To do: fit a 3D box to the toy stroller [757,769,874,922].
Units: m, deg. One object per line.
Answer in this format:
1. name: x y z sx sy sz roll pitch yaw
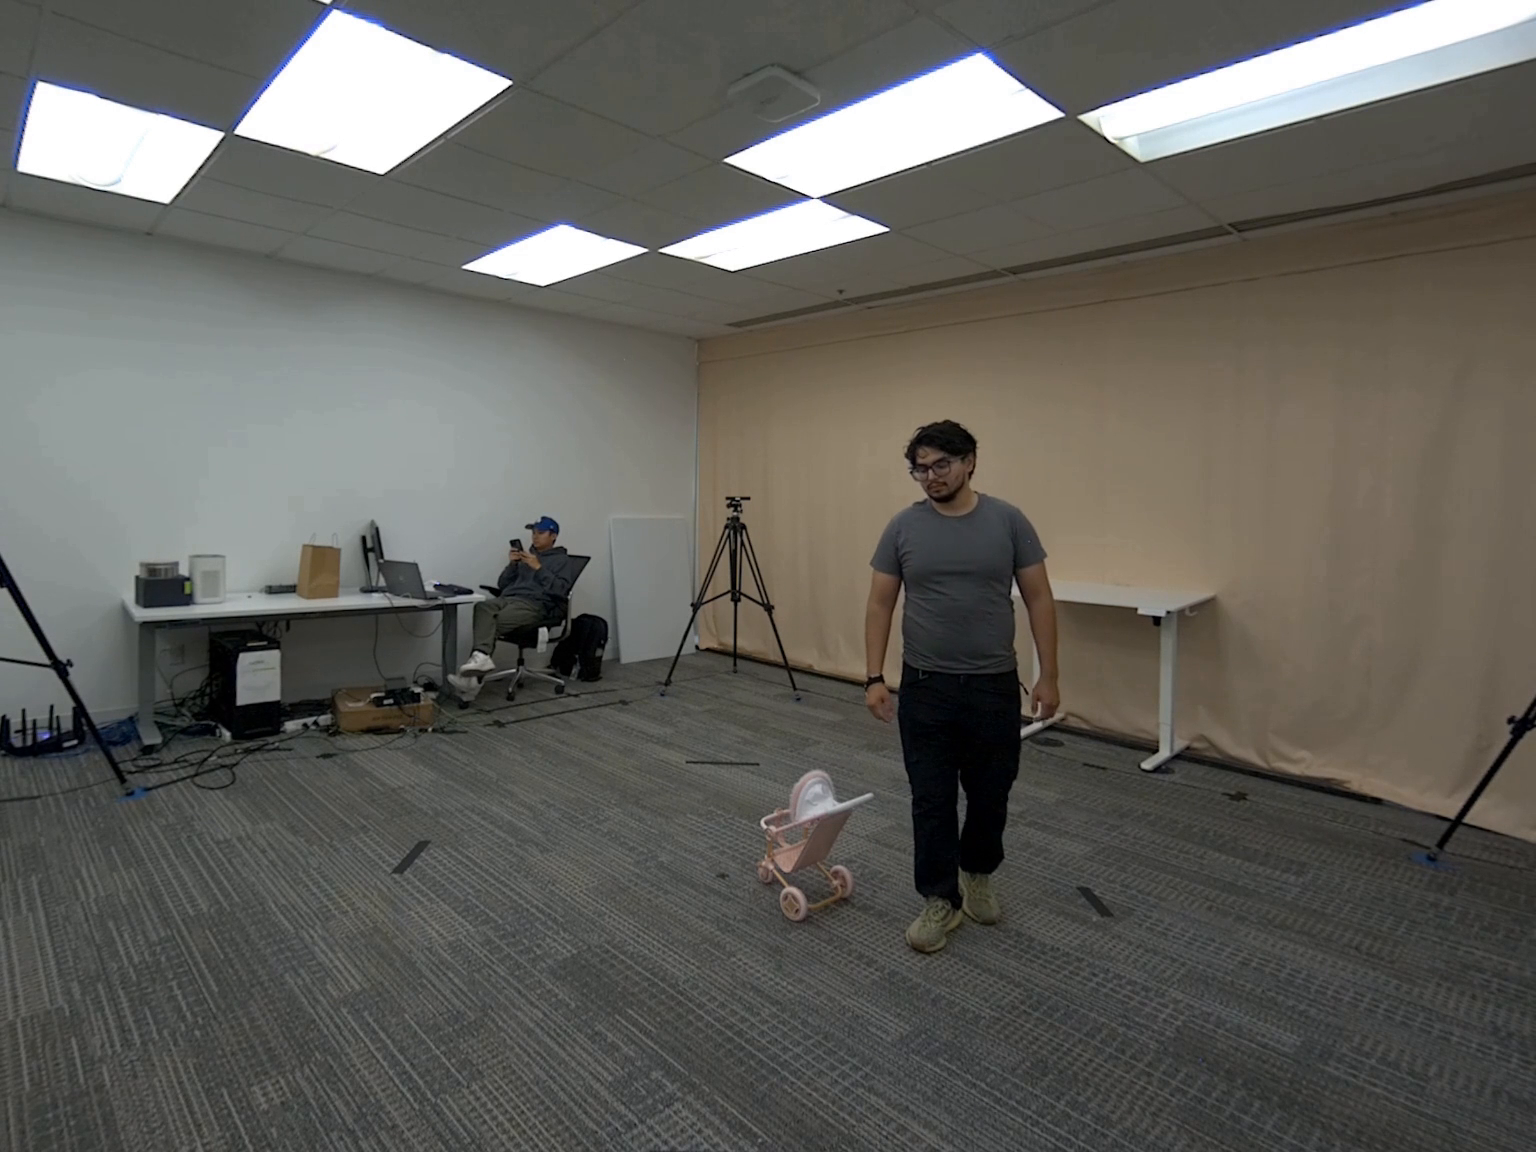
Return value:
1. toy stroller: 0.130 0.905 2.908 0.275 0.530 0.352 0 21 -39
